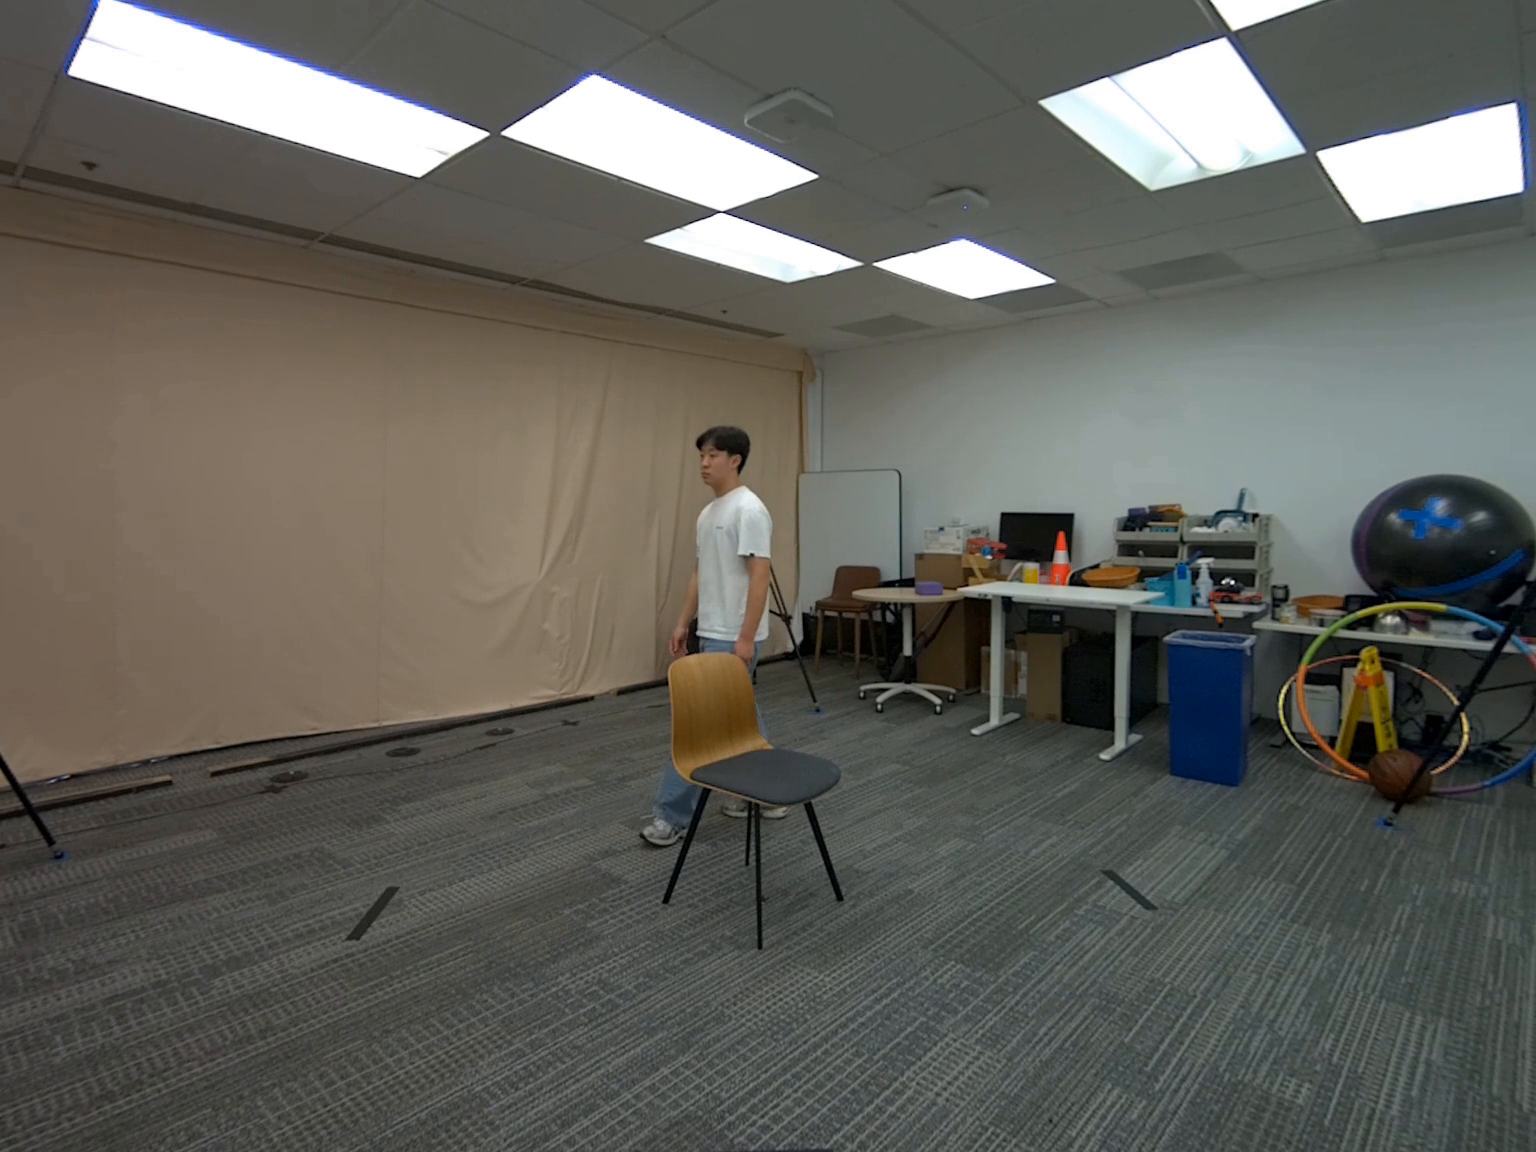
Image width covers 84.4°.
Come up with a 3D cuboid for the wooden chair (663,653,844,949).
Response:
[{"bbox_3d":[-0.040,0.723,2.919,0.539,0.877,0.463,-3,1,42],"label":"wooden chair"}]
